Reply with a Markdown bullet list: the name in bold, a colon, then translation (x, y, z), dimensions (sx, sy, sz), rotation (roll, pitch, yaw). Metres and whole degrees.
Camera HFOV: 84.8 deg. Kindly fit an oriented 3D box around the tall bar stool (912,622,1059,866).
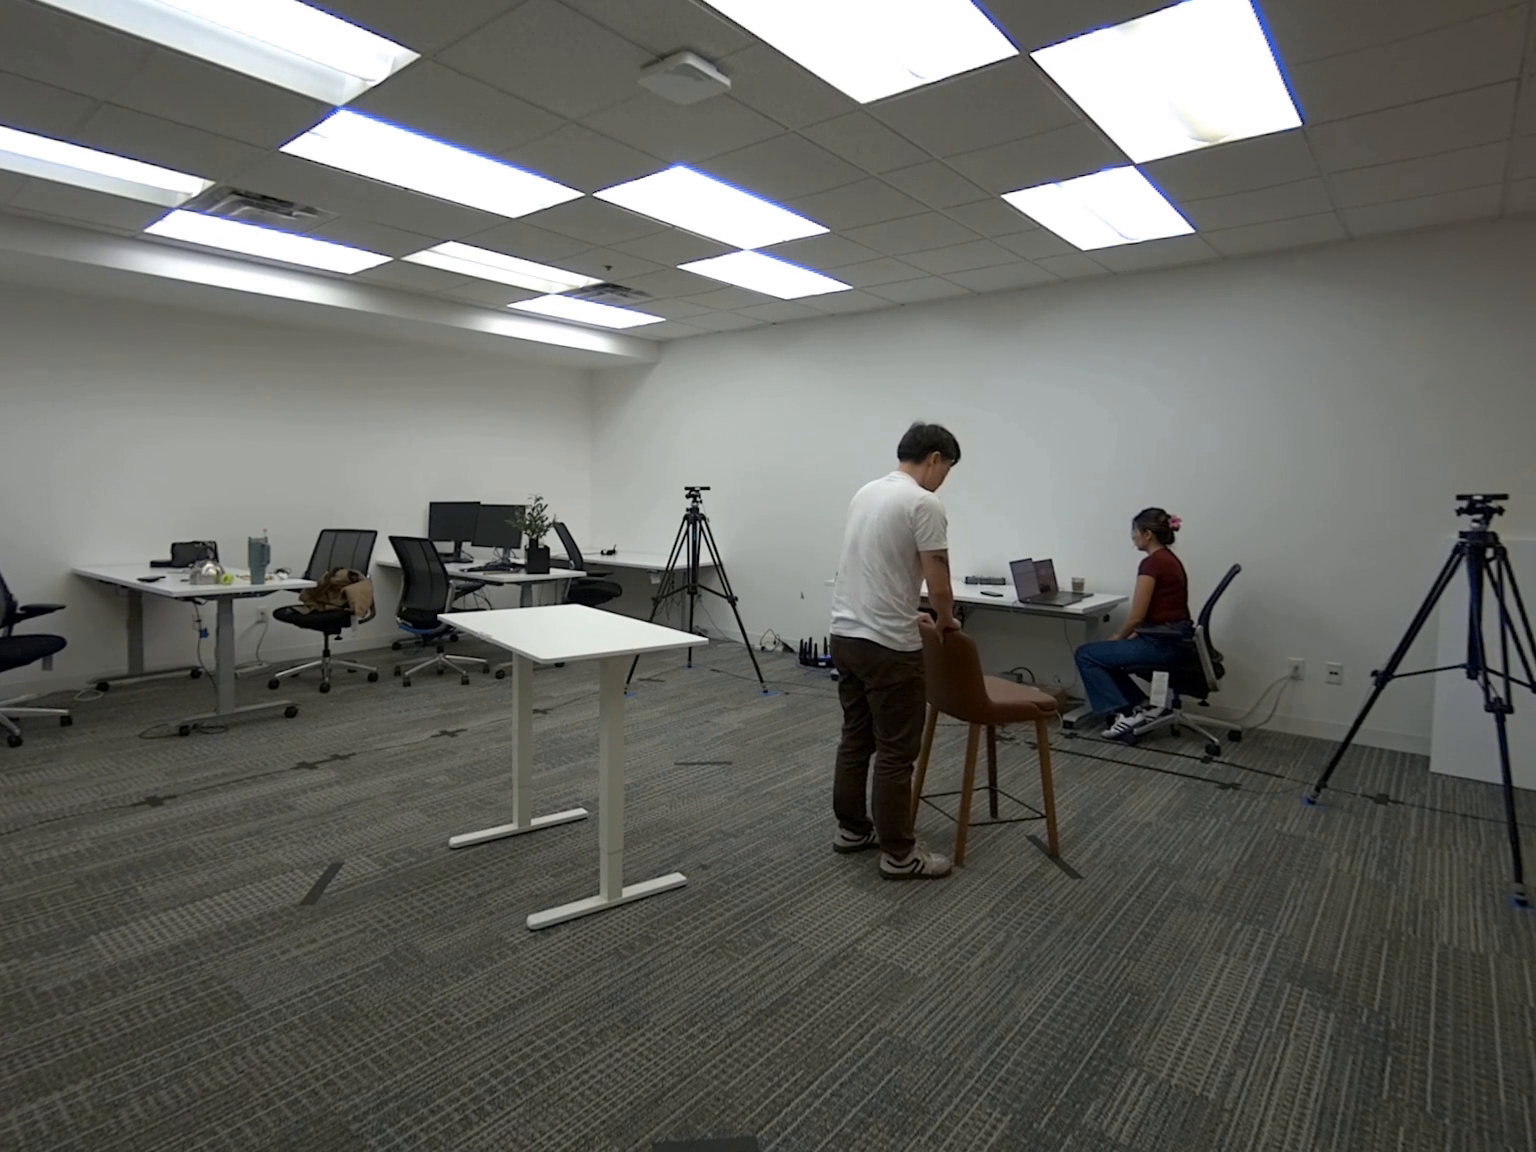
- **tall bar stool**: translation (0.841, 0.624, 3.384), dimensions (0.459, 0.886, 0.467), rotation (-2, 5, -20)
